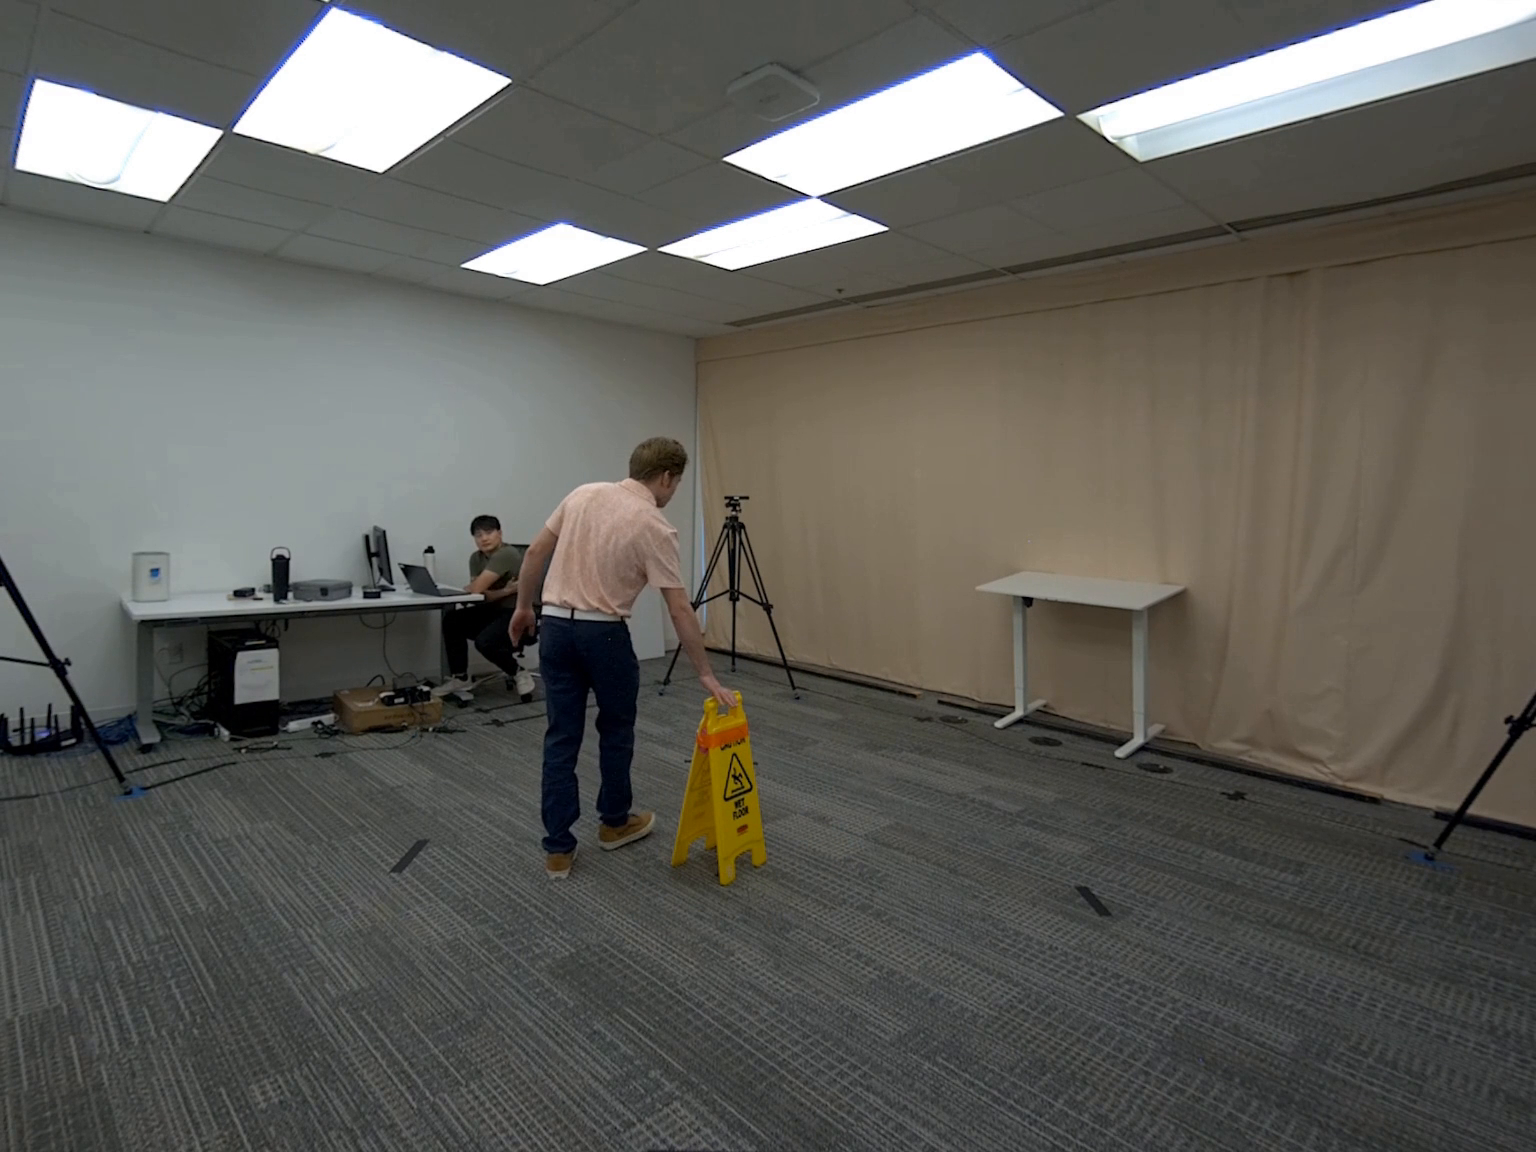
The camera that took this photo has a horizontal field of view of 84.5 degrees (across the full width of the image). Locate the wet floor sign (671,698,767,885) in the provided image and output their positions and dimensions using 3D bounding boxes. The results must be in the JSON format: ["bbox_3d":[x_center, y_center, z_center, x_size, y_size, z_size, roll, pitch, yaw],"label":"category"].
[{"bbox_3d":[-0.181,0.771,3.177,0.297,0.644,0.276,5,5,36],"label":"wet floor sign"}]
